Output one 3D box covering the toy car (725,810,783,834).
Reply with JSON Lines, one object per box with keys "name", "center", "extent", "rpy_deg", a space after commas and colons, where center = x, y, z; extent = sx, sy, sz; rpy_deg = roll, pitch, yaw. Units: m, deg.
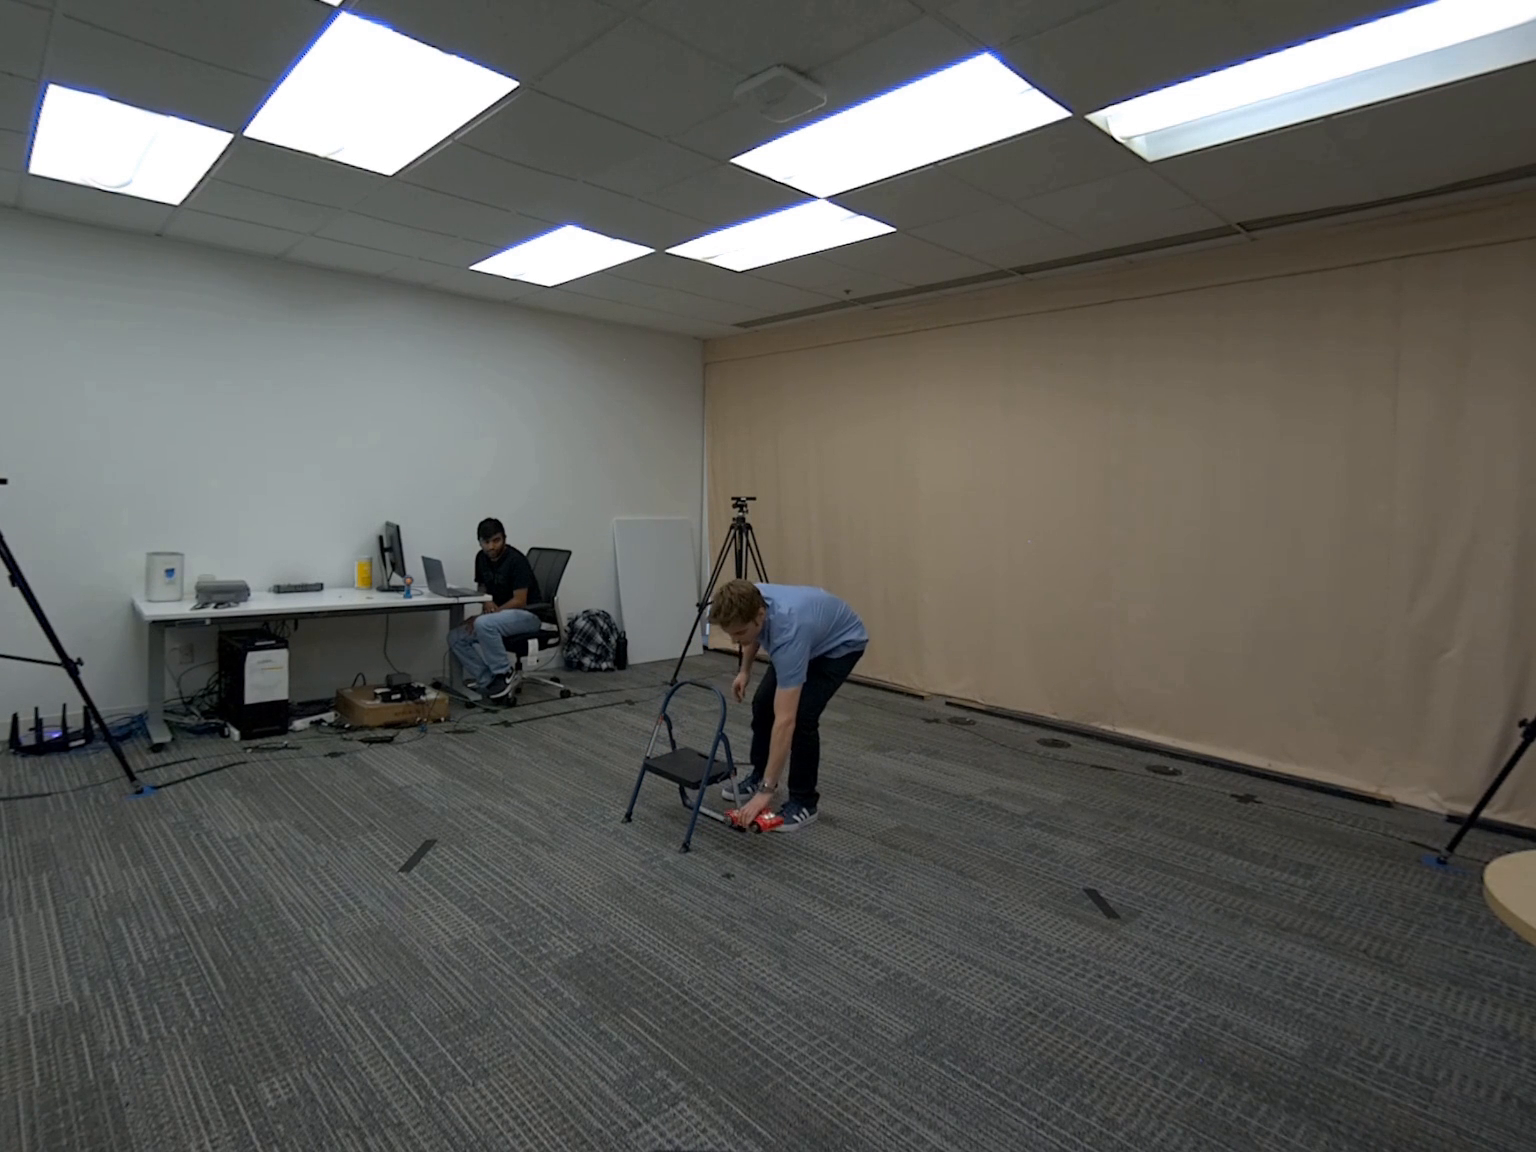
{"name": "toy car", "center": [-0.053, 0.945, 3.290], "extent": [0.127, 0.084, 0.259], "rpy_deg": [1, -11, -44]}
